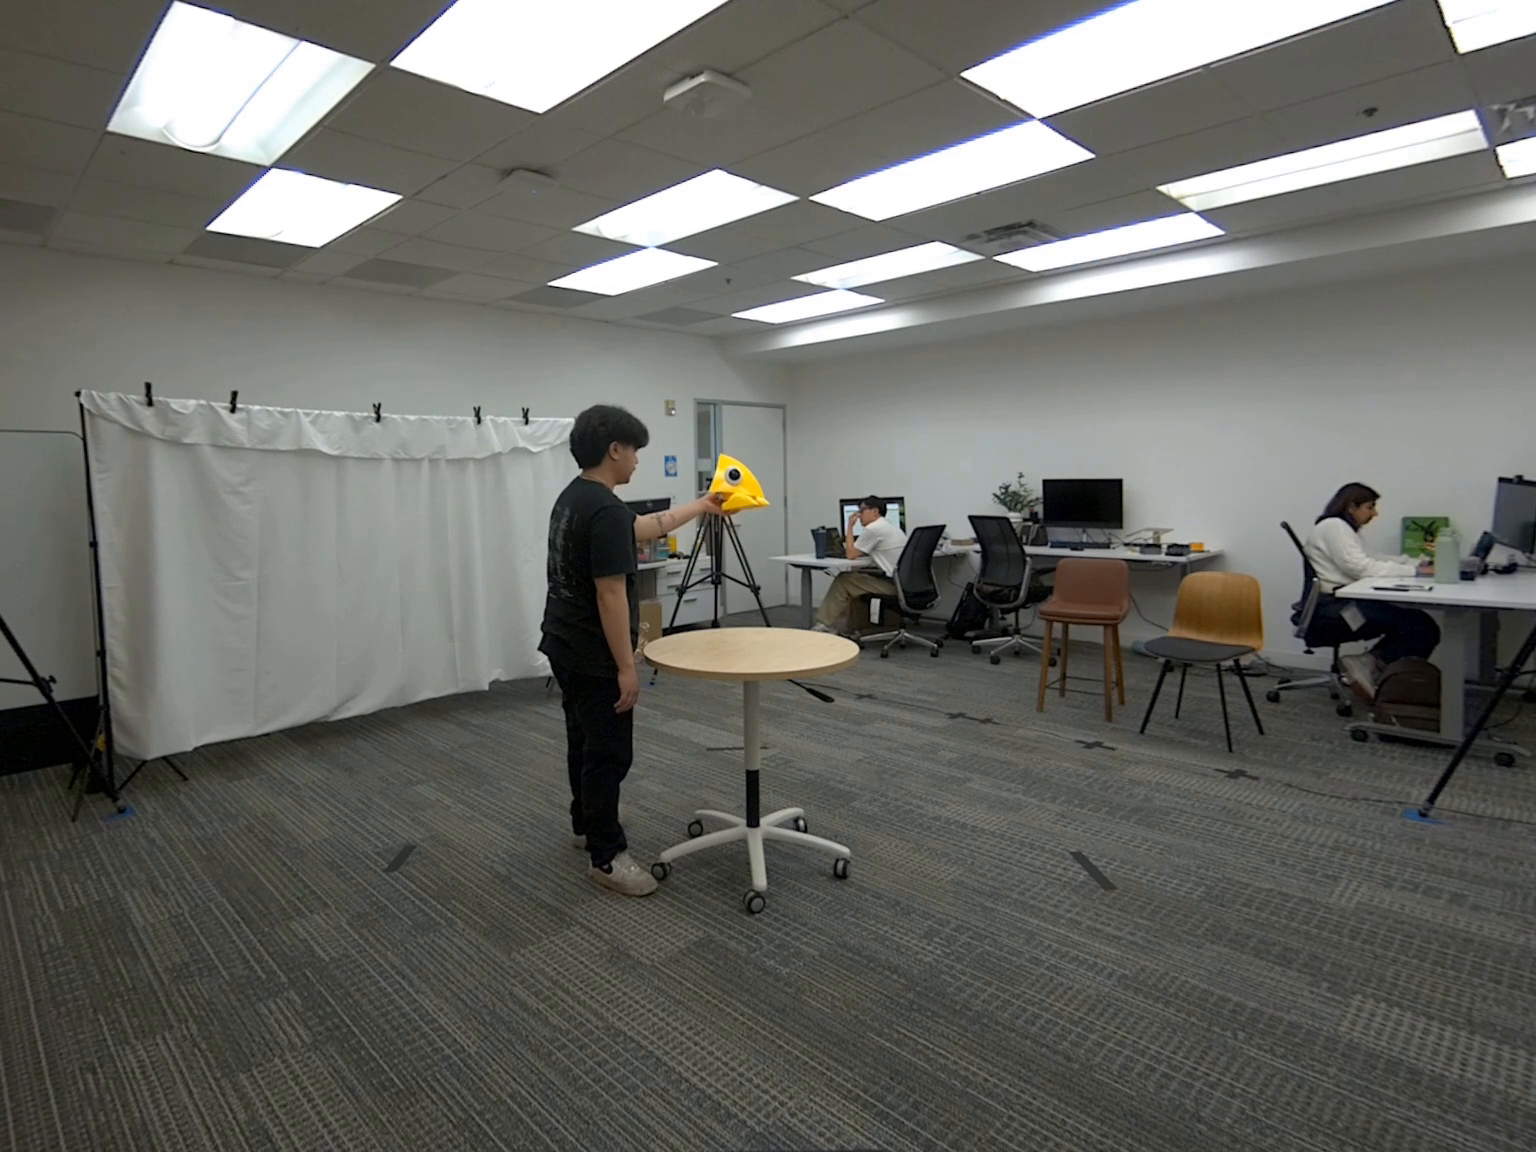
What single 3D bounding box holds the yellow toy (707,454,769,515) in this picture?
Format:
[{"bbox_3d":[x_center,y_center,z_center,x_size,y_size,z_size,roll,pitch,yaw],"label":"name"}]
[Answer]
[{"bbox_3d":[-0.118,-0.379,3.375,0.196,0.231,0.200,-9,-2,23],"label":"yellow toy"}]
